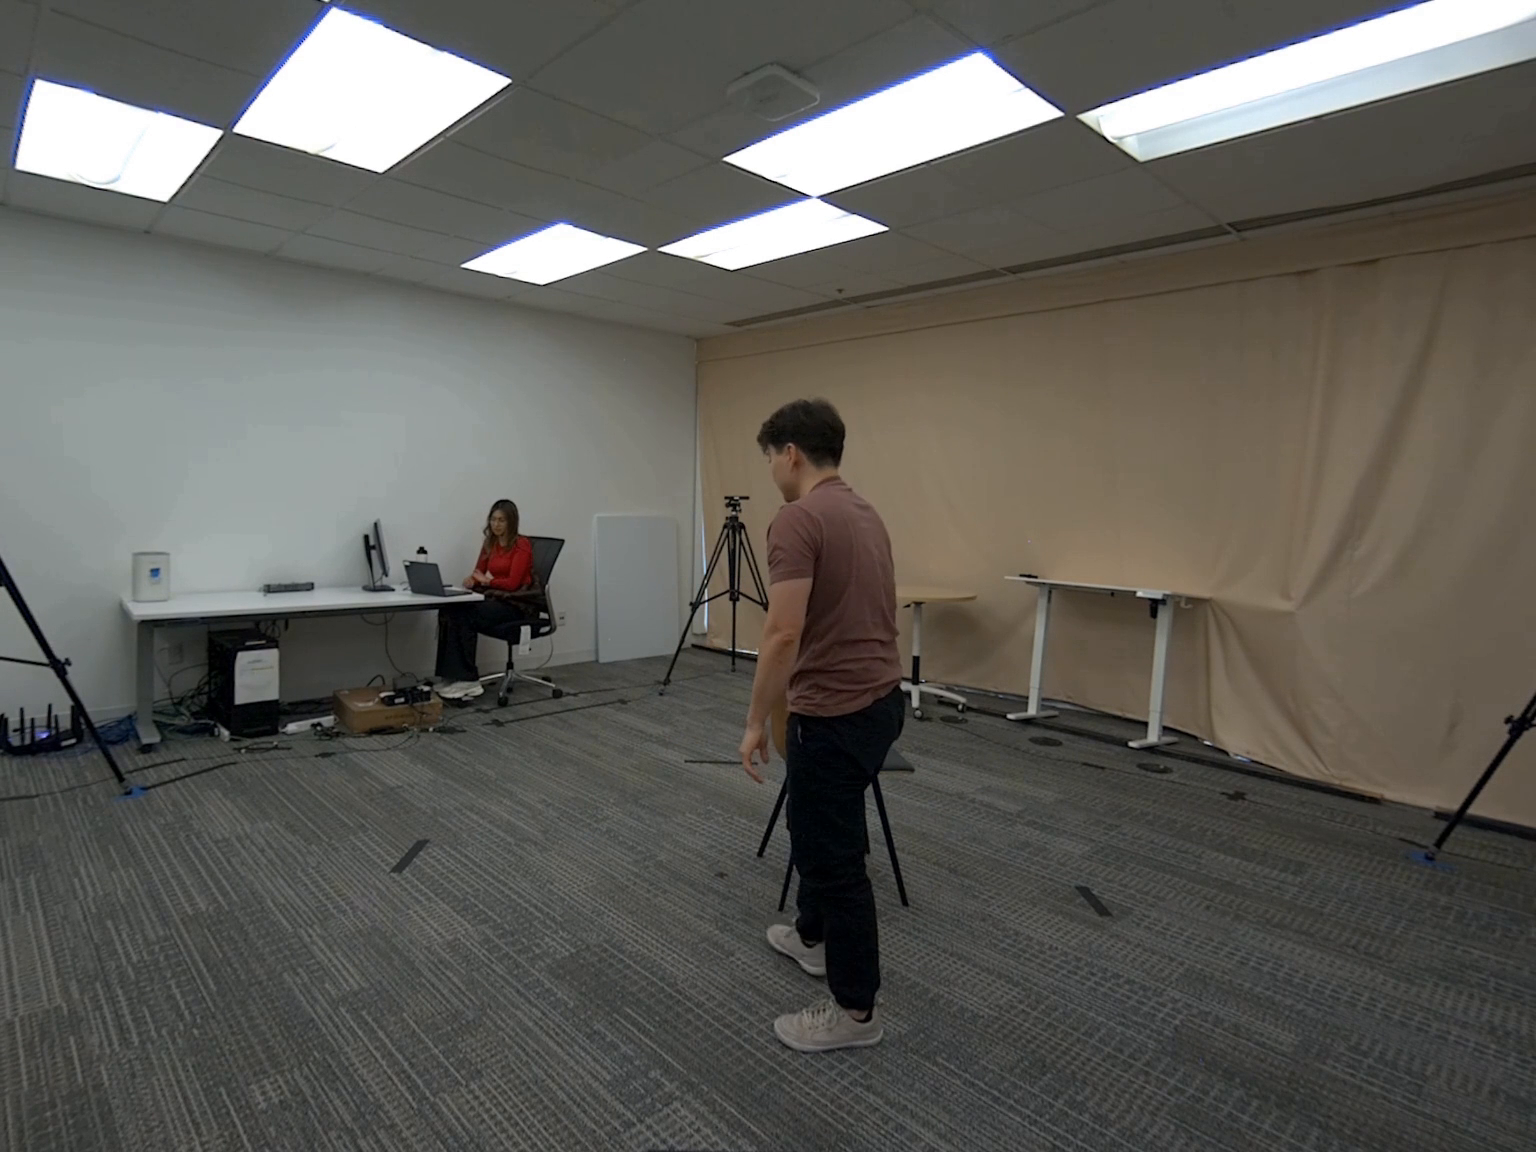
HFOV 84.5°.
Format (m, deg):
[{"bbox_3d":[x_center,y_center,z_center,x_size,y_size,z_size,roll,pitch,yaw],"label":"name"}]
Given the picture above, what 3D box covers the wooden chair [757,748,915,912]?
[{"bbox_3d":[0.236,0.692,3.055,0.520,0.875,0.482,-3,3,-9],"label":"wooden chair"}]
